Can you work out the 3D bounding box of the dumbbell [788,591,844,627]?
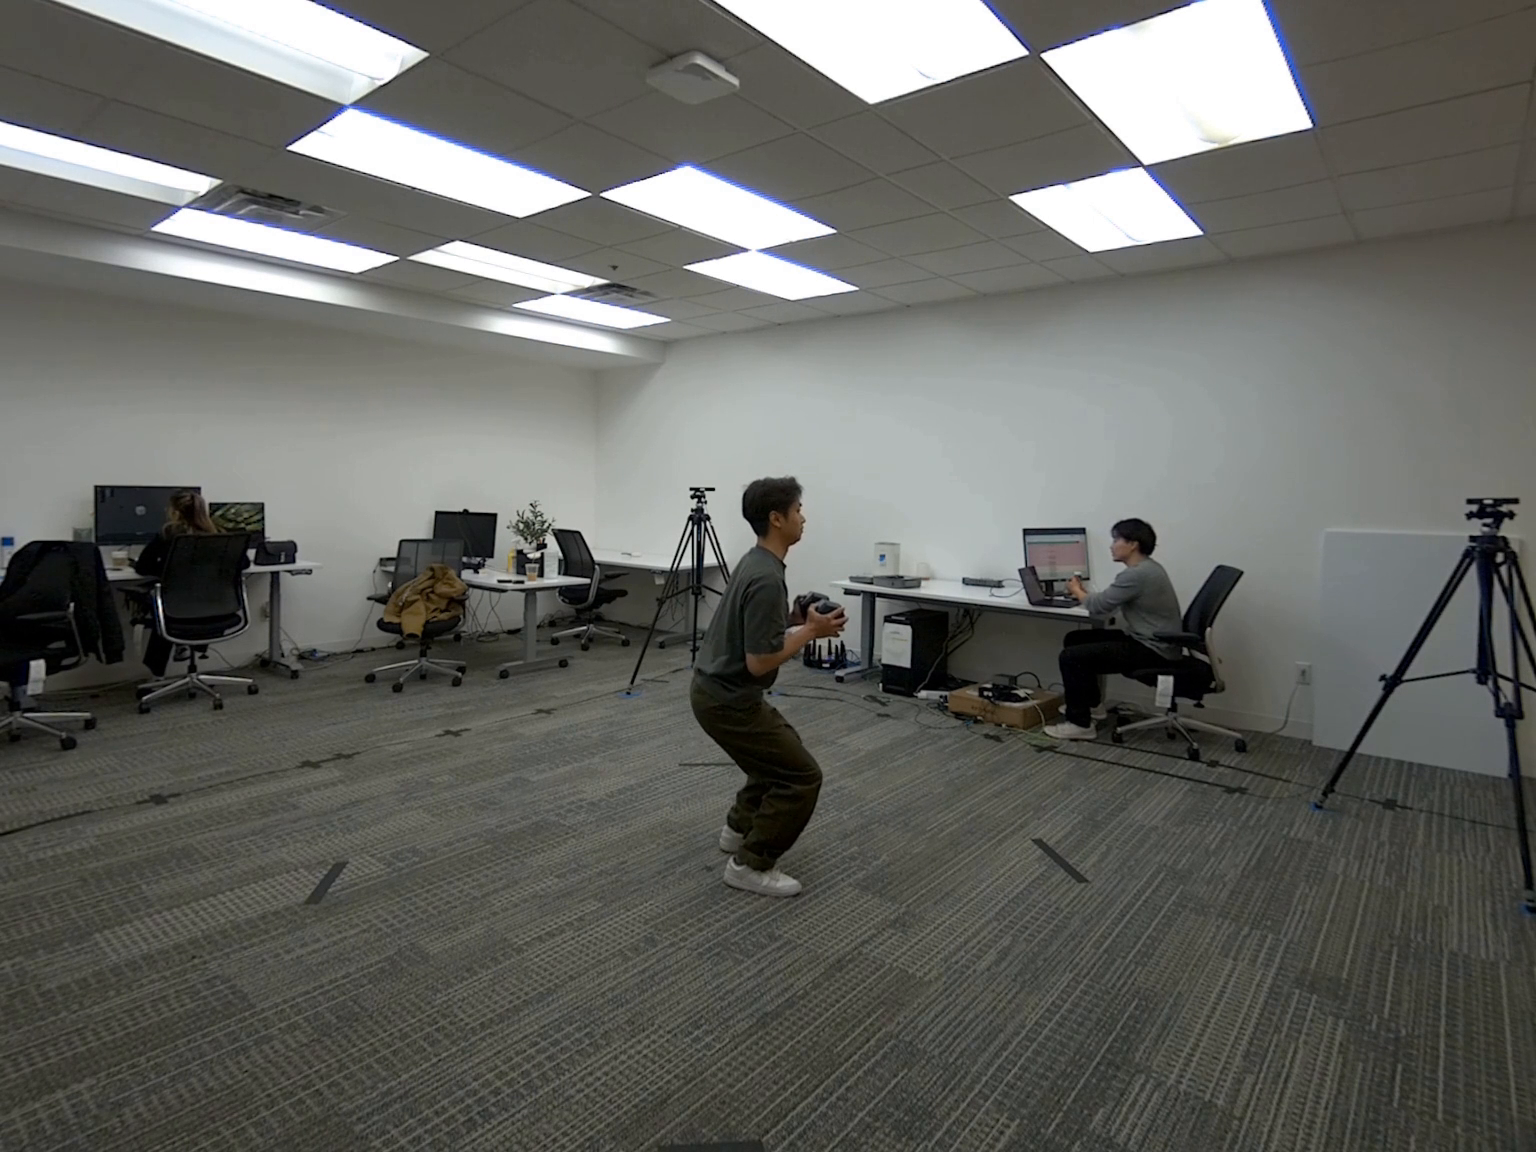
[{"bbox_3d":[0.181,0.133,3.087,0.107,0.123,0.297,43,3,-10],"label":"dumbbell"}]
